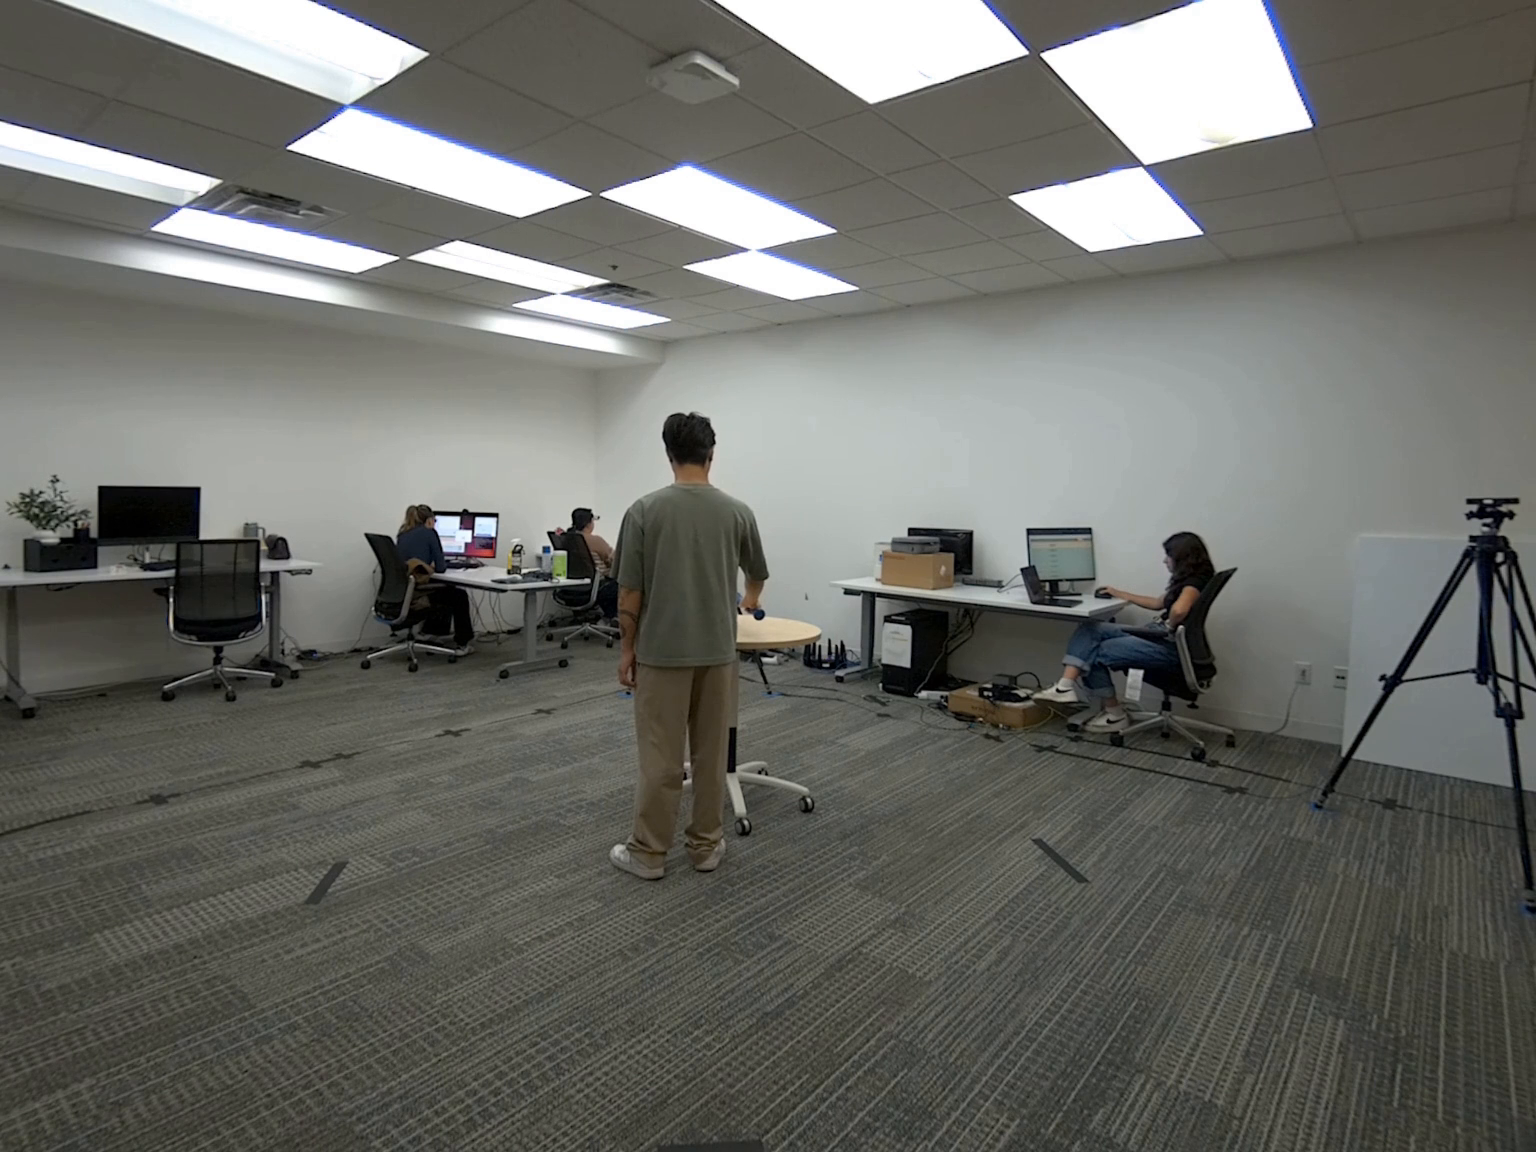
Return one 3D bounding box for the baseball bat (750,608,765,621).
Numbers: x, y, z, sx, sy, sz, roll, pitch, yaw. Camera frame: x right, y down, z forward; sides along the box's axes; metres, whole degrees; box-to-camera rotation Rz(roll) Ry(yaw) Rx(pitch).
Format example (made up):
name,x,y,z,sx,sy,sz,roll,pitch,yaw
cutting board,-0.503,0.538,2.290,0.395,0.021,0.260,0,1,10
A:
name,x,y,z,sx,sy,sz,roll,pitch,yaw
baseball bat,-0.152,0.103,3.740,0.087,0.088,0.559,-1,12,-21
